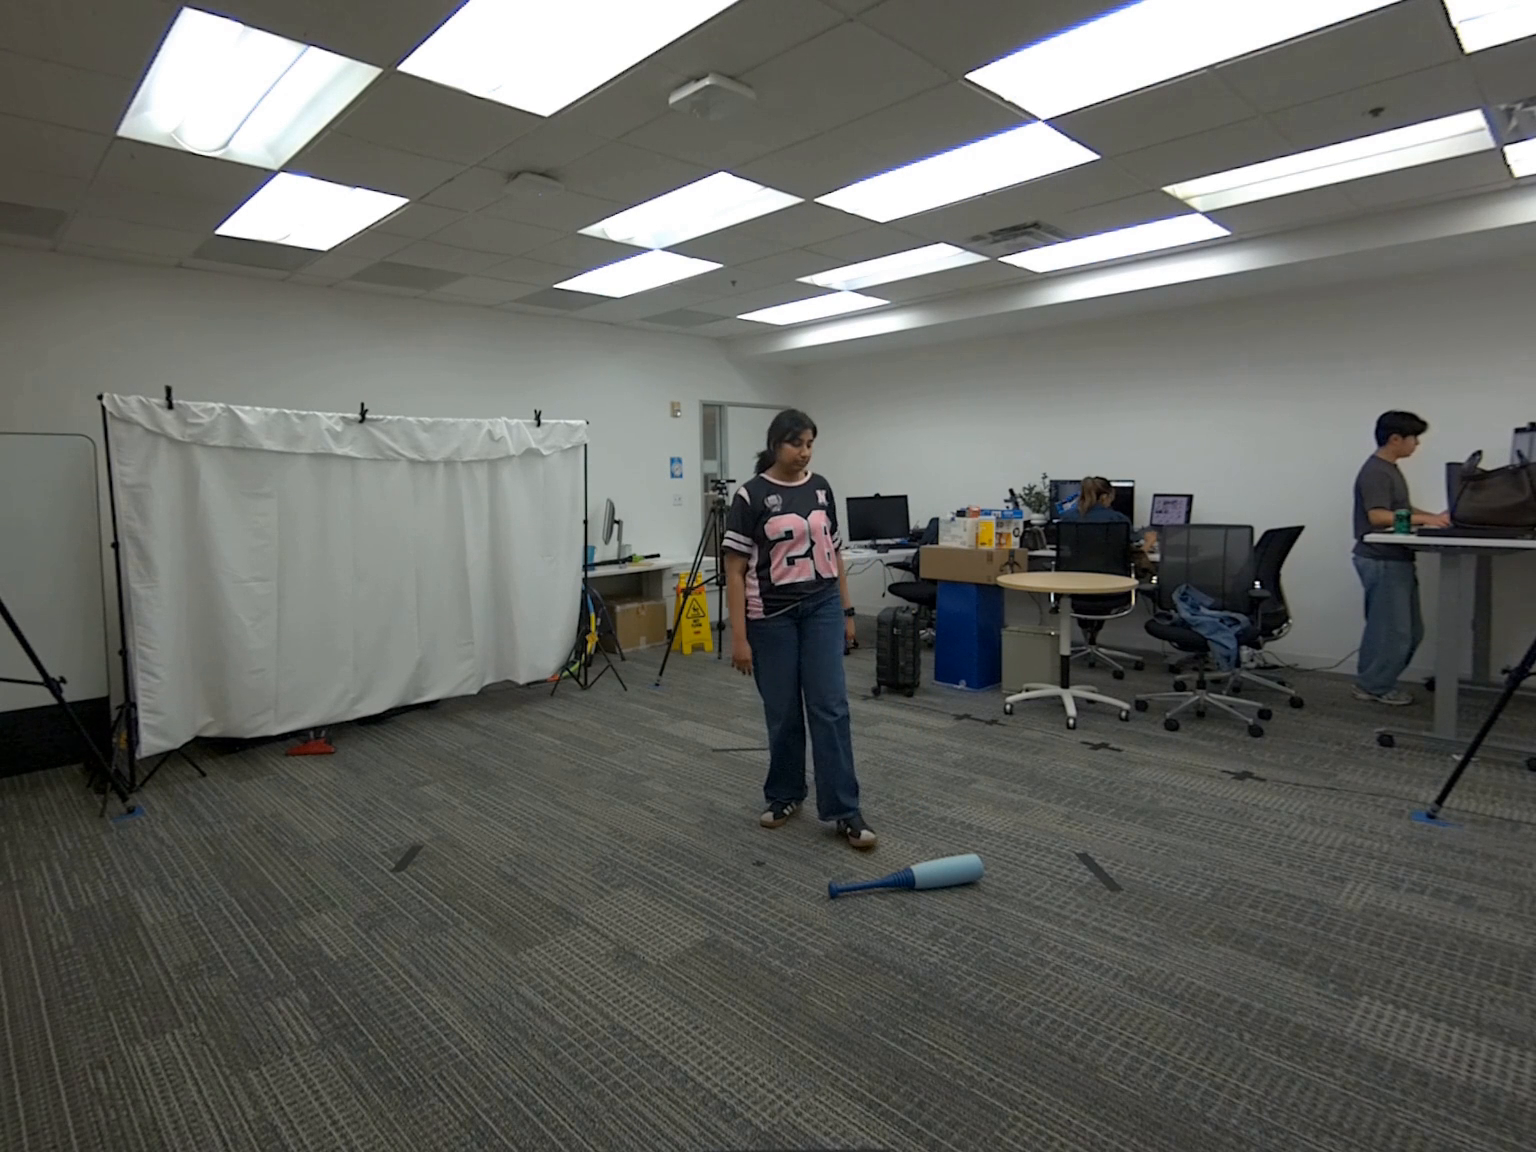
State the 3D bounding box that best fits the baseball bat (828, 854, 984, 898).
[{"bbox_3d":[0.472,1.026,2.888,0.538,0.088,0.090,-5,5,-10],"label":"baseball bat"}]
